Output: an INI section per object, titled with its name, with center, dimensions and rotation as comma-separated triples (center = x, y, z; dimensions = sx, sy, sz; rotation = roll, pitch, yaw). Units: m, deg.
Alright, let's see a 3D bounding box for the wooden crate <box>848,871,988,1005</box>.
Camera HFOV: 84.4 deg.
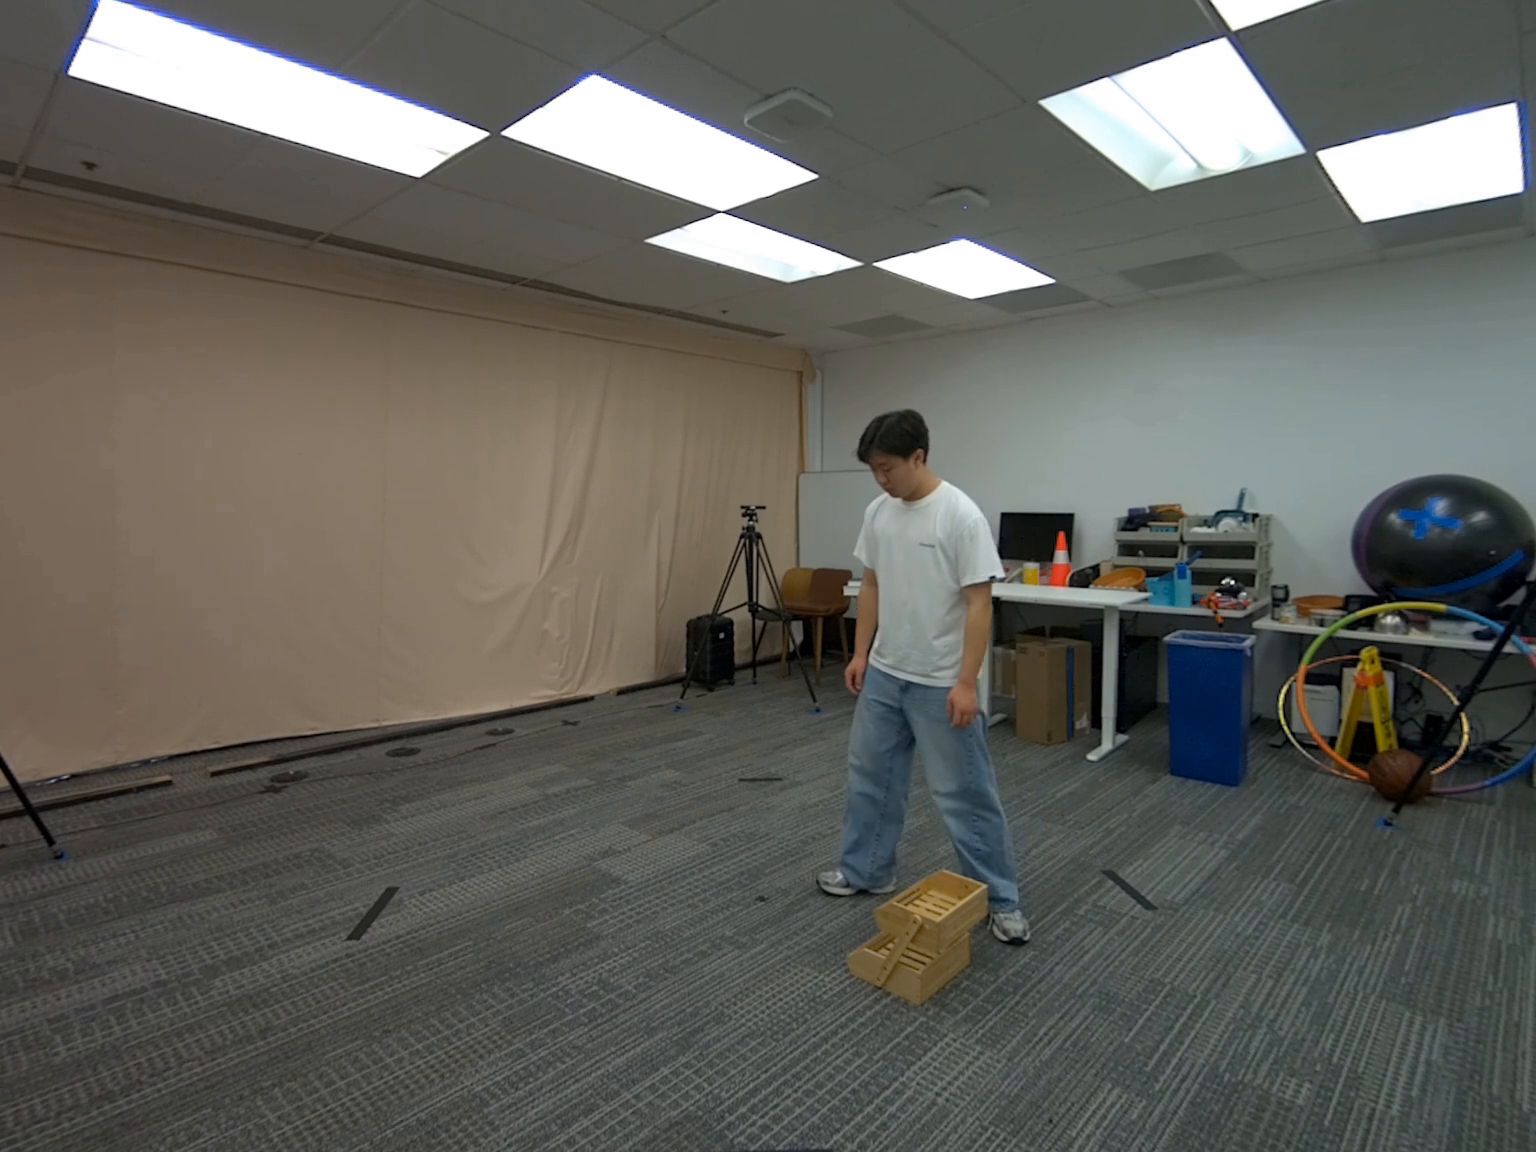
[wooden crate]
center = 0.444, 1.044, 2.513
dimensions = 0.312, 0.272, 0.314
rotation = 5, 6, 41
